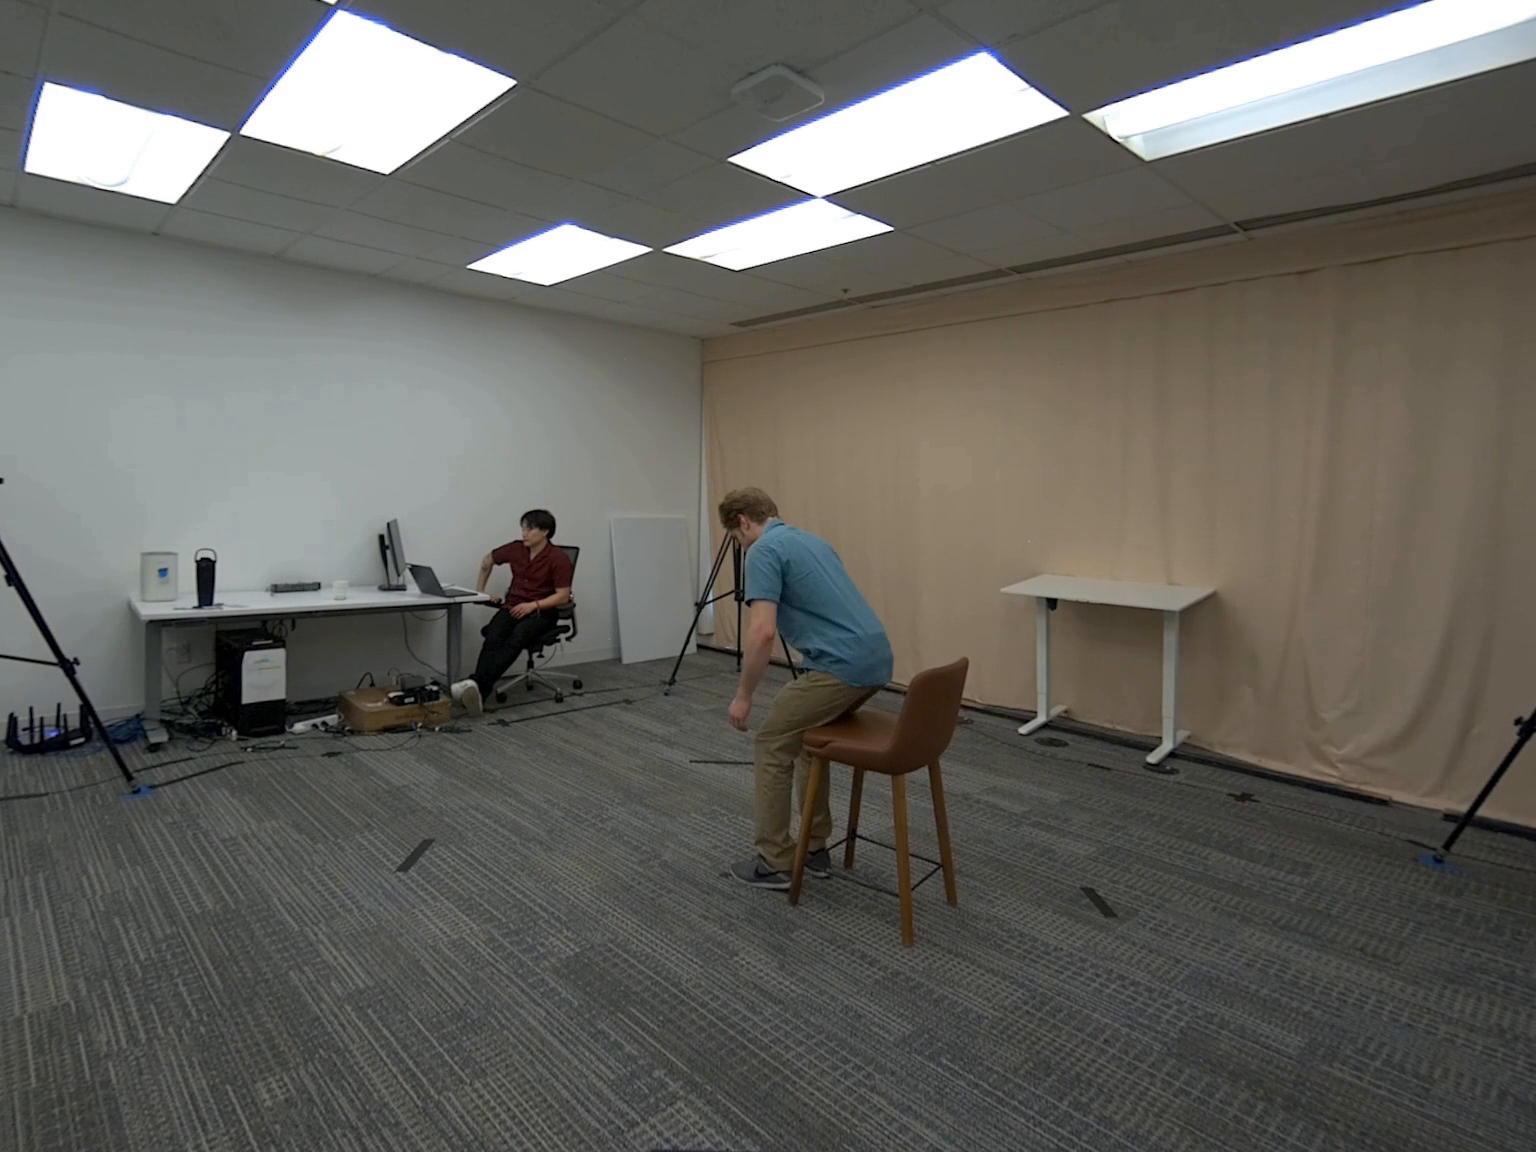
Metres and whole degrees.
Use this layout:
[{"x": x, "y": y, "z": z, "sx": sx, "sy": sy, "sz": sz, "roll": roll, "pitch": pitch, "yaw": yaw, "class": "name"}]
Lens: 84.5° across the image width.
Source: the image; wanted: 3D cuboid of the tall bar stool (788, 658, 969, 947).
[{"x": 0.375, "y": 0.696, "z": 2.882, "sx": 0.479, "sy": 0.887, "sz": 0.447, "roll": 7, "pitch": 6, "yaw": 36, "class": "tall bar stool"}]
